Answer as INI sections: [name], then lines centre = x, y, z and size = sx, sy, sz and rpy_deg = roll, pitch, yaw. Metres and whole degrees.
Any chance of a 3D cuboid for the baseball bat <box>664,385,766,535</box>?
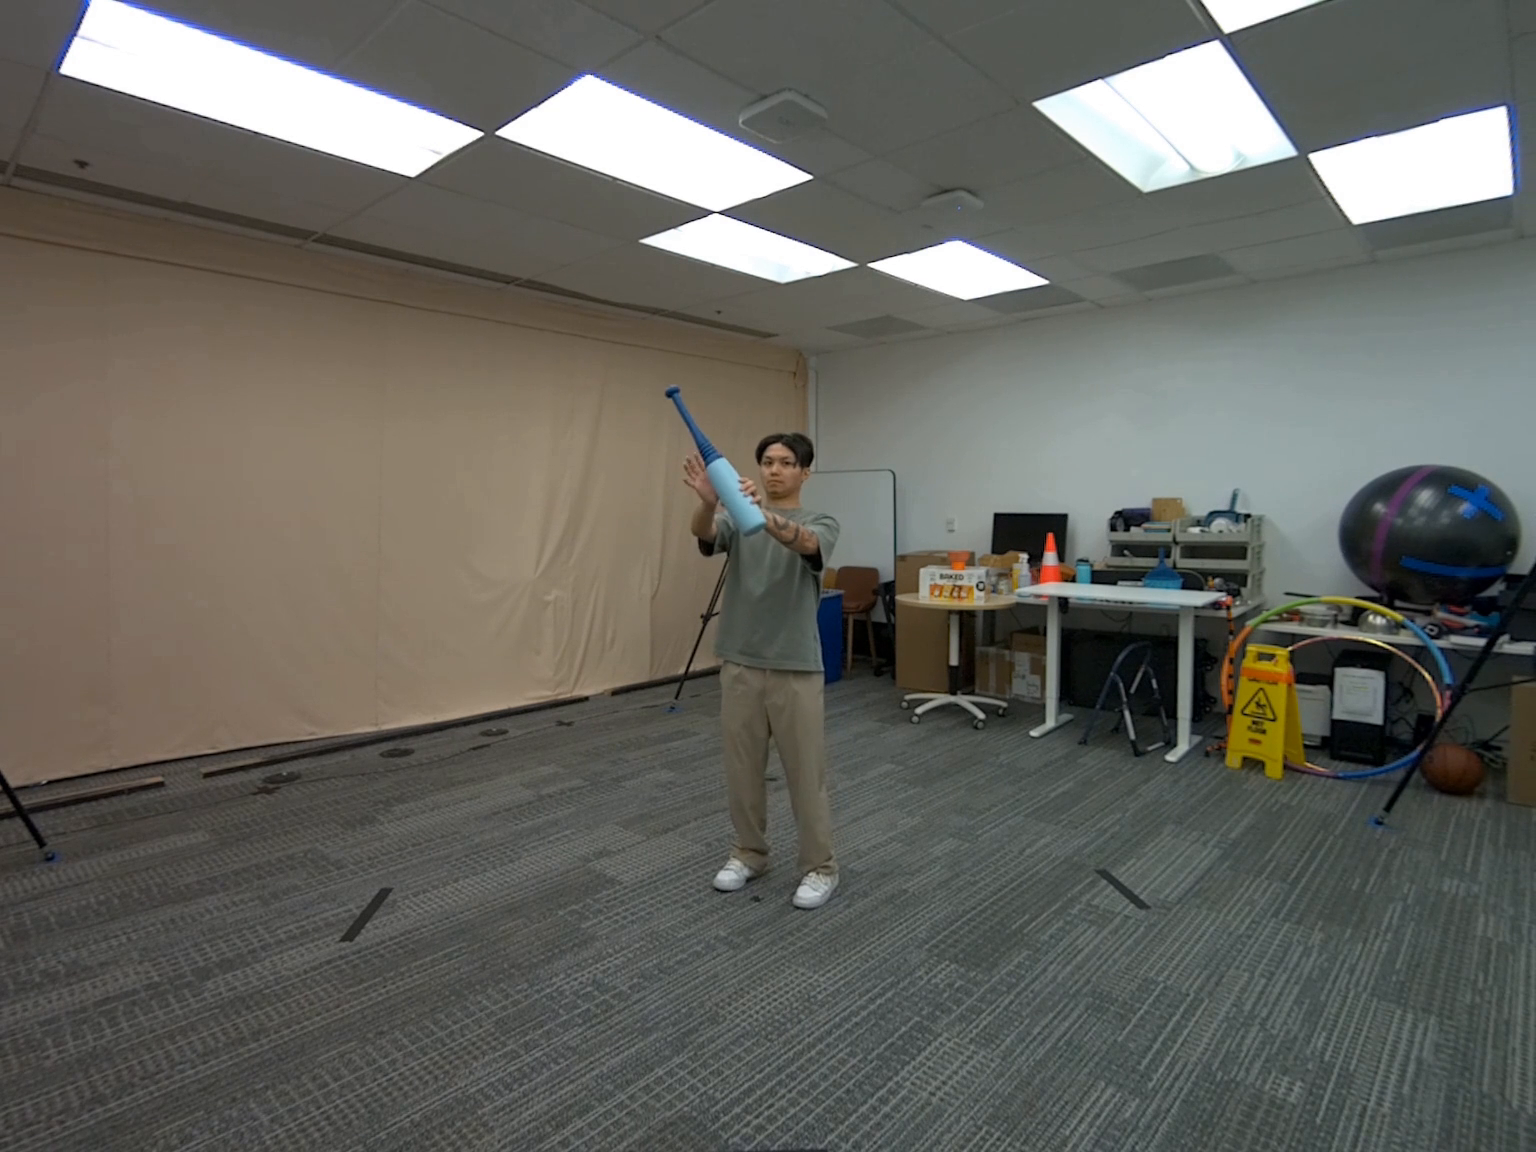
[baseball bat]
centre = -0.176, -0.362, 2.605
size = 0.088, 0.551, 0.088
rpy_deg = -29, -14, -9
